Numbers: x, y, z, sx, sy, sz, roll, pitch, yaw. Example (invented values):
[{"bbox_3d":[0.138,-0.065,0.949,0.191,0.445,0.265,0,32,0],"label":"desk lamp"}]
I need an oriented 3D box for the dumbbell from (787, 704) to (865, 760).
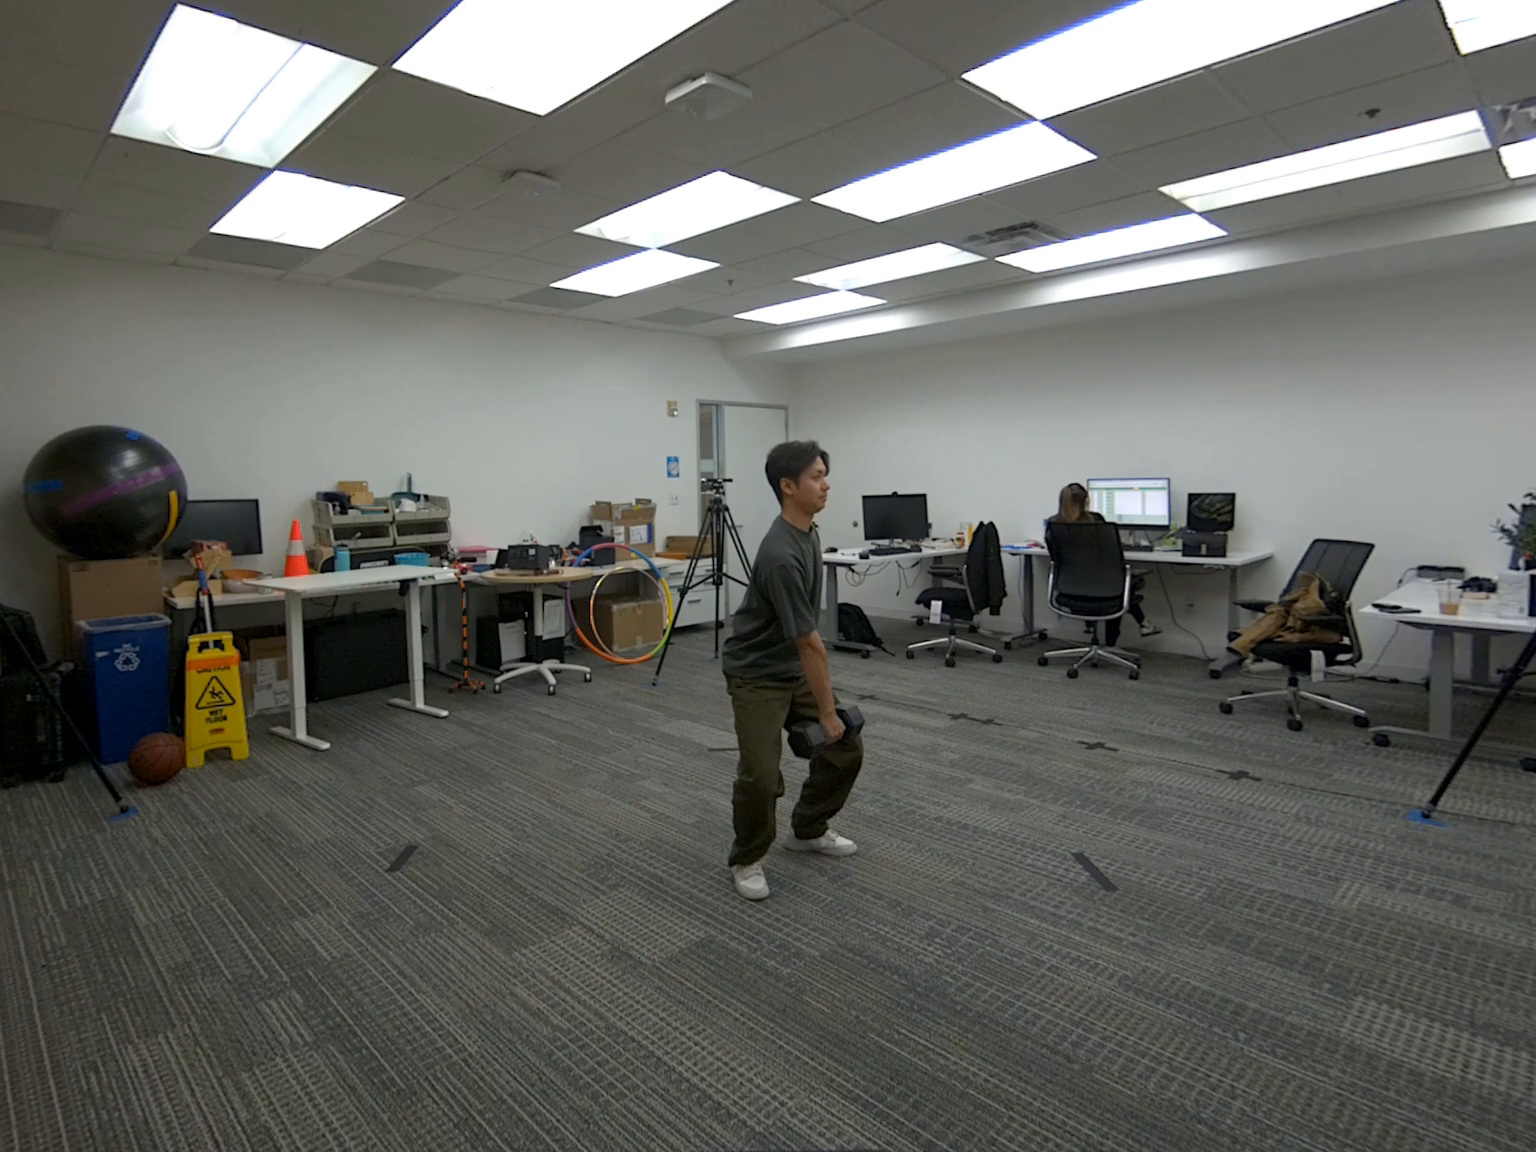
[{"bbox_3d":[0.193,0.528,2.911,0.287,0.121,0.113,-15,41,-43],"label":"dumbbell"}]
